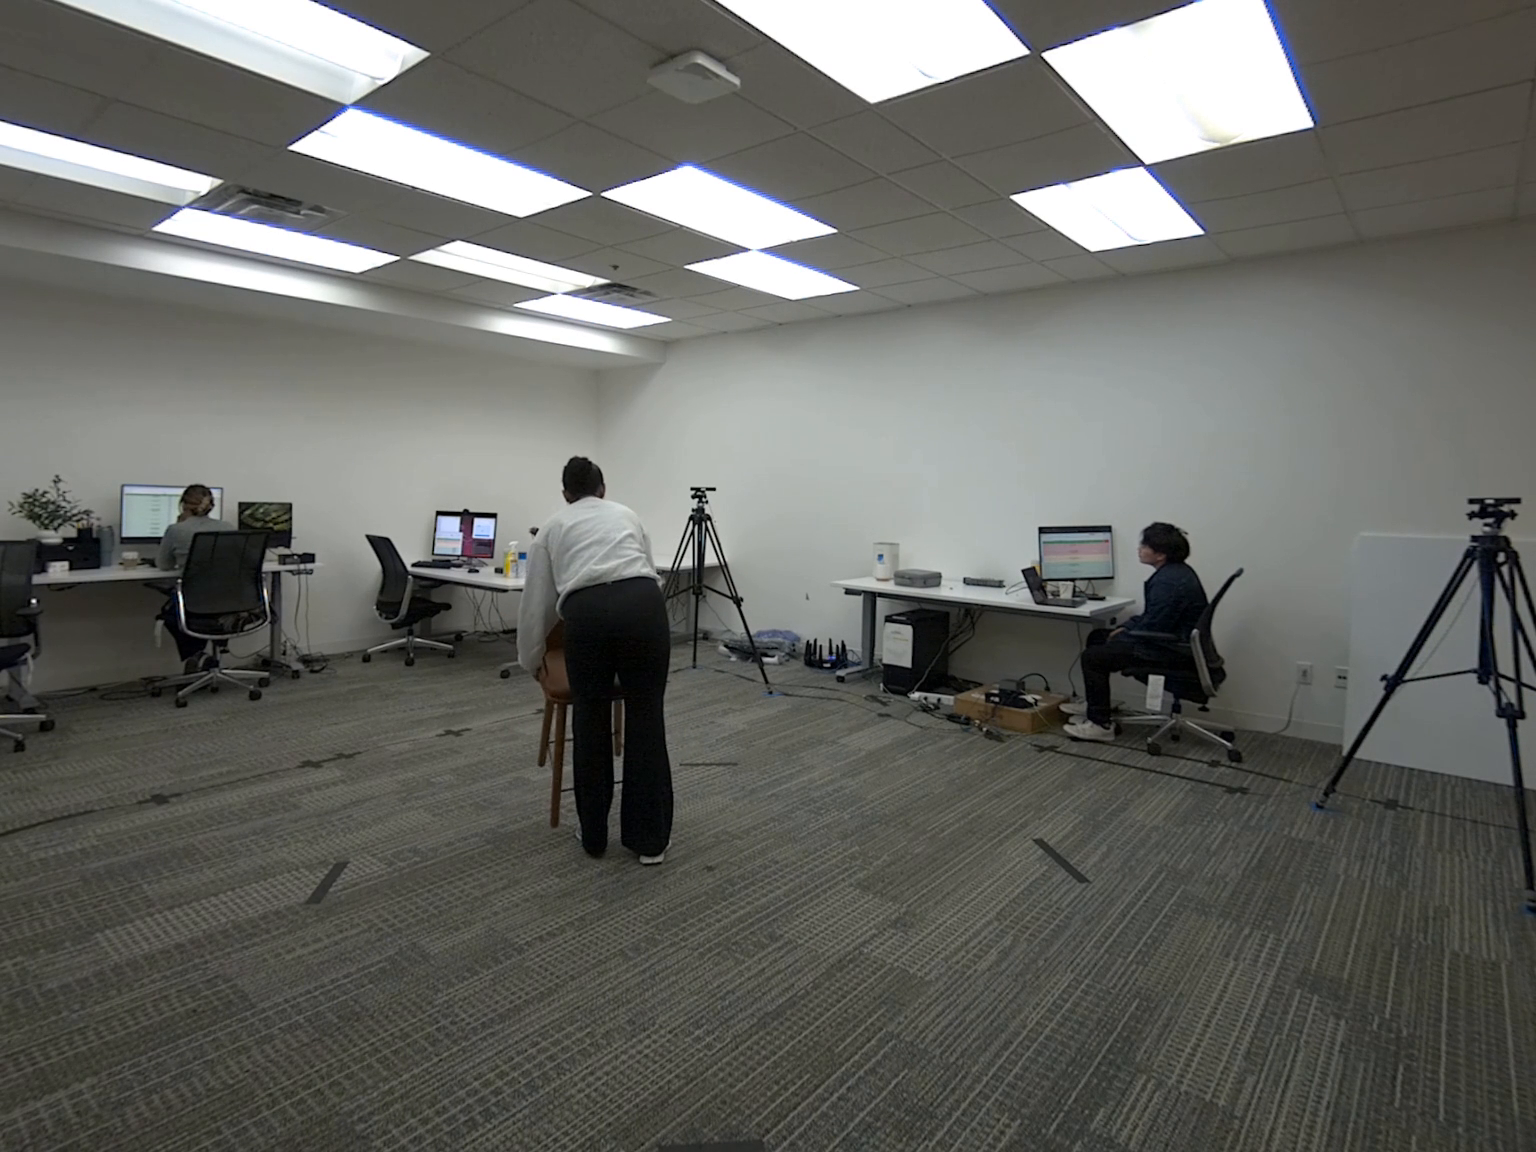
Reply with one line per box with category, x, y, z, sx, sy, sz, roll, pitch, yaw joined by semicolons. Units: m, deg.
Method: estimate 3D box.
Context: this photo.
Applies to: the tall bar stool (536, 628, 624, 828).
tall bar stool;-0.739;0.505;3.513;0.447;0.877;0.484;-2;18;-22
